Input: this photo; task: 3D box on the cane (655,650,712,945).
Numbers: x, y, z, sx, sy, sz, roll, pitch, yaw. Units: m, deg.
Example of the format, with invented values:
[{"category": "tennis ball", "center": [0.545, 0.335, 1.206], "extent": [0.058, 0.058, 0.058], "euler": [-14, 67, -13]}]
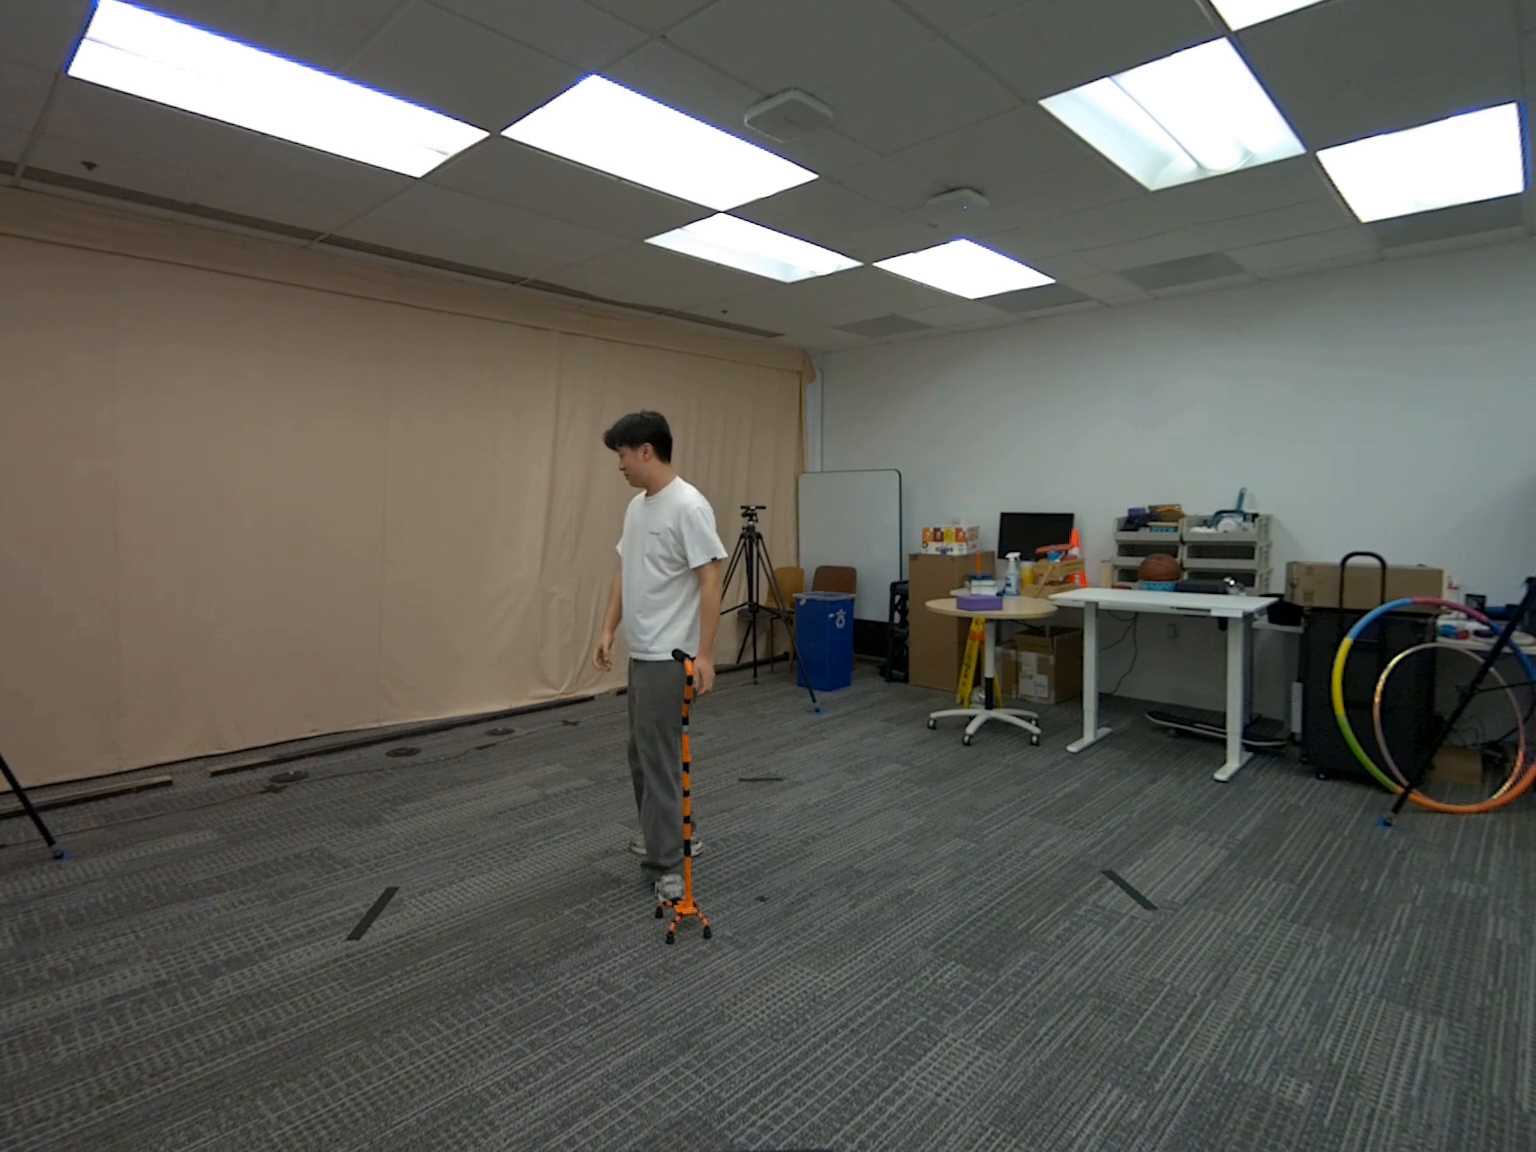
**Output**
[{"category": "cane", "center": [-0.272, 0.717, 2.766], "extent": [0.148, 0.906, 0.211], "euler": [-1, 3, -20]}]
